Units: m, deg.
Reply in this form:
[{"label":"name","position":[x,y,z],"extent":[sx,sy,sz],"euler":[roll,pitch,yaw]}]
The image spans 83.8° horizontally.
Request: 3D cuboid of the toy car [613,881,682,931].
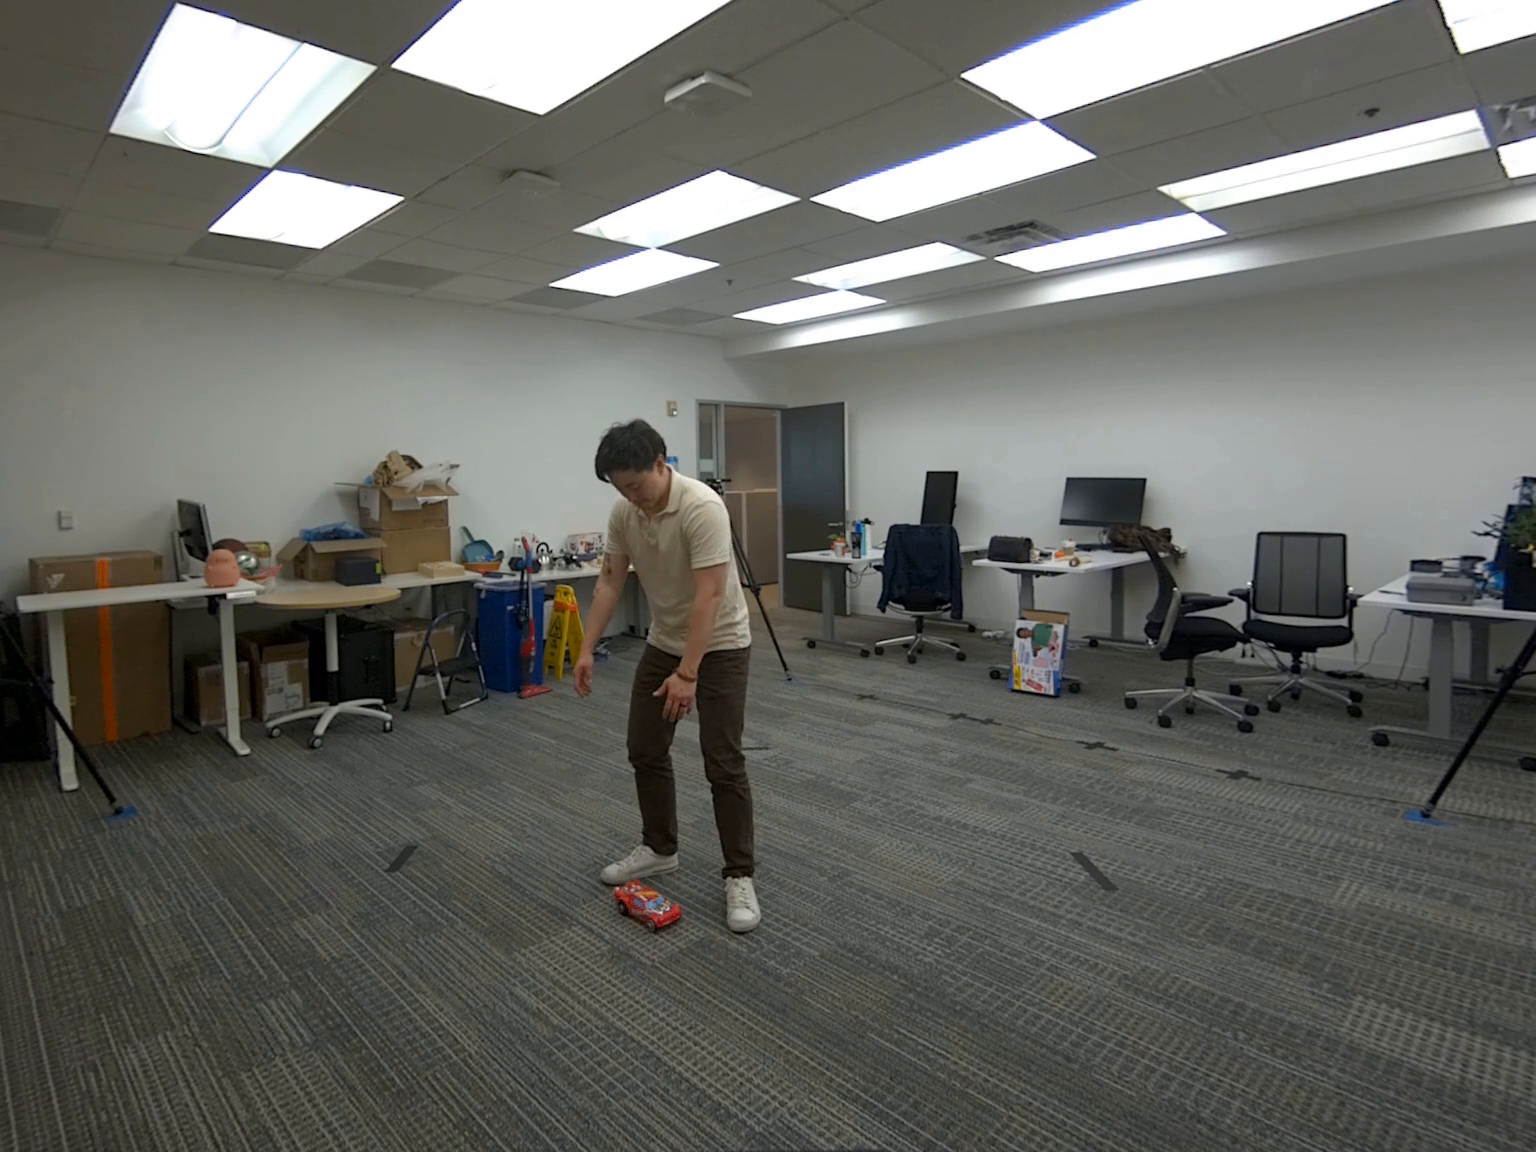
[{"label":"toy car","position":[-0.388,1.060,2.750],"extent":[0.127,0.082,0.264],"euler":[-7,19,-44]}]
